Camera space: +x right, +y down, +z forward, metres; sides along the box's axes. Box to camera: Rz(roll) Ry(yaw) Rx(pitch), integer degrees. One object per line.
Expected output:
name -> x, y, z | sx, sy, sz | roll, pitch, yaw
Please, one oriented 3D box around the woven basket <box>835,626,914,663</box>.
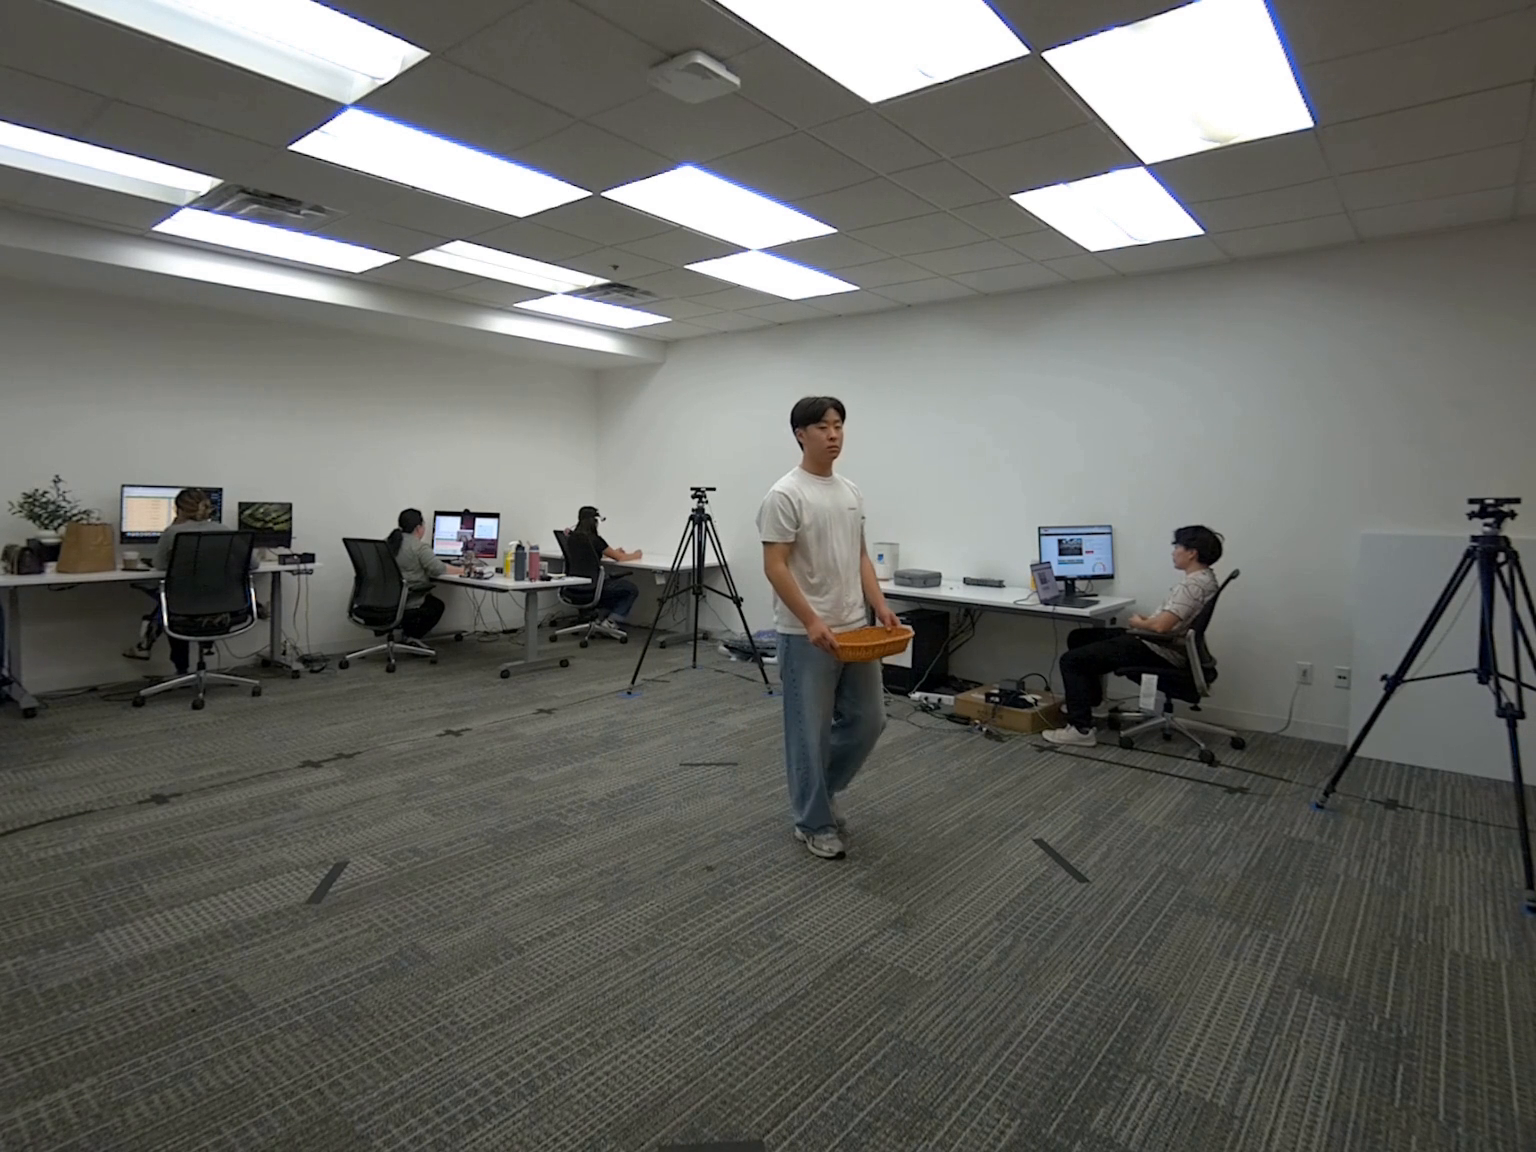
woven basket -> 0.361, 0.248, 3.107 | 0.342, 0.073, 0.260 | -10, 8, -31
